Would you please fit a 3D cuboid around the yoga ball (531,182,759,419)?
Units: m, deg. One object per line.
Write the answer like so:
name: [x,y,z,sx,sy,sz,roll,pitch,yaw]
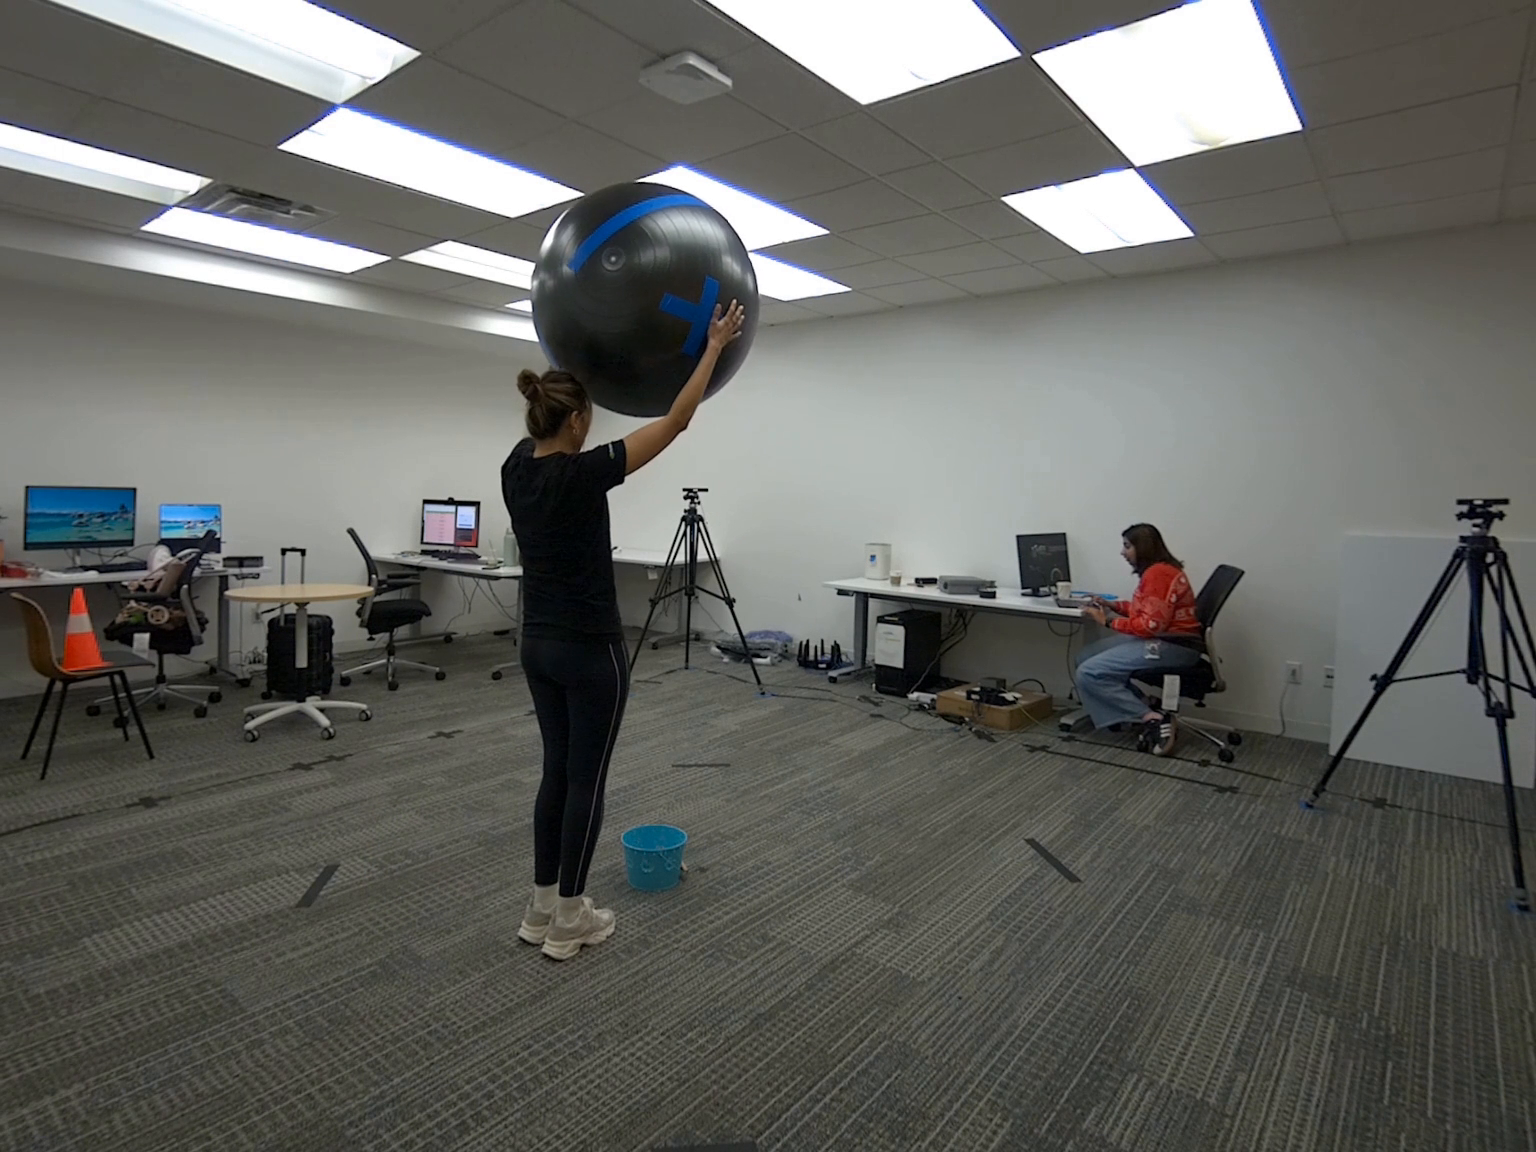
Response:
yoga ball: [-0.411,-0.902,2.842,0.757,0.755,0.762,1,4,-2]
